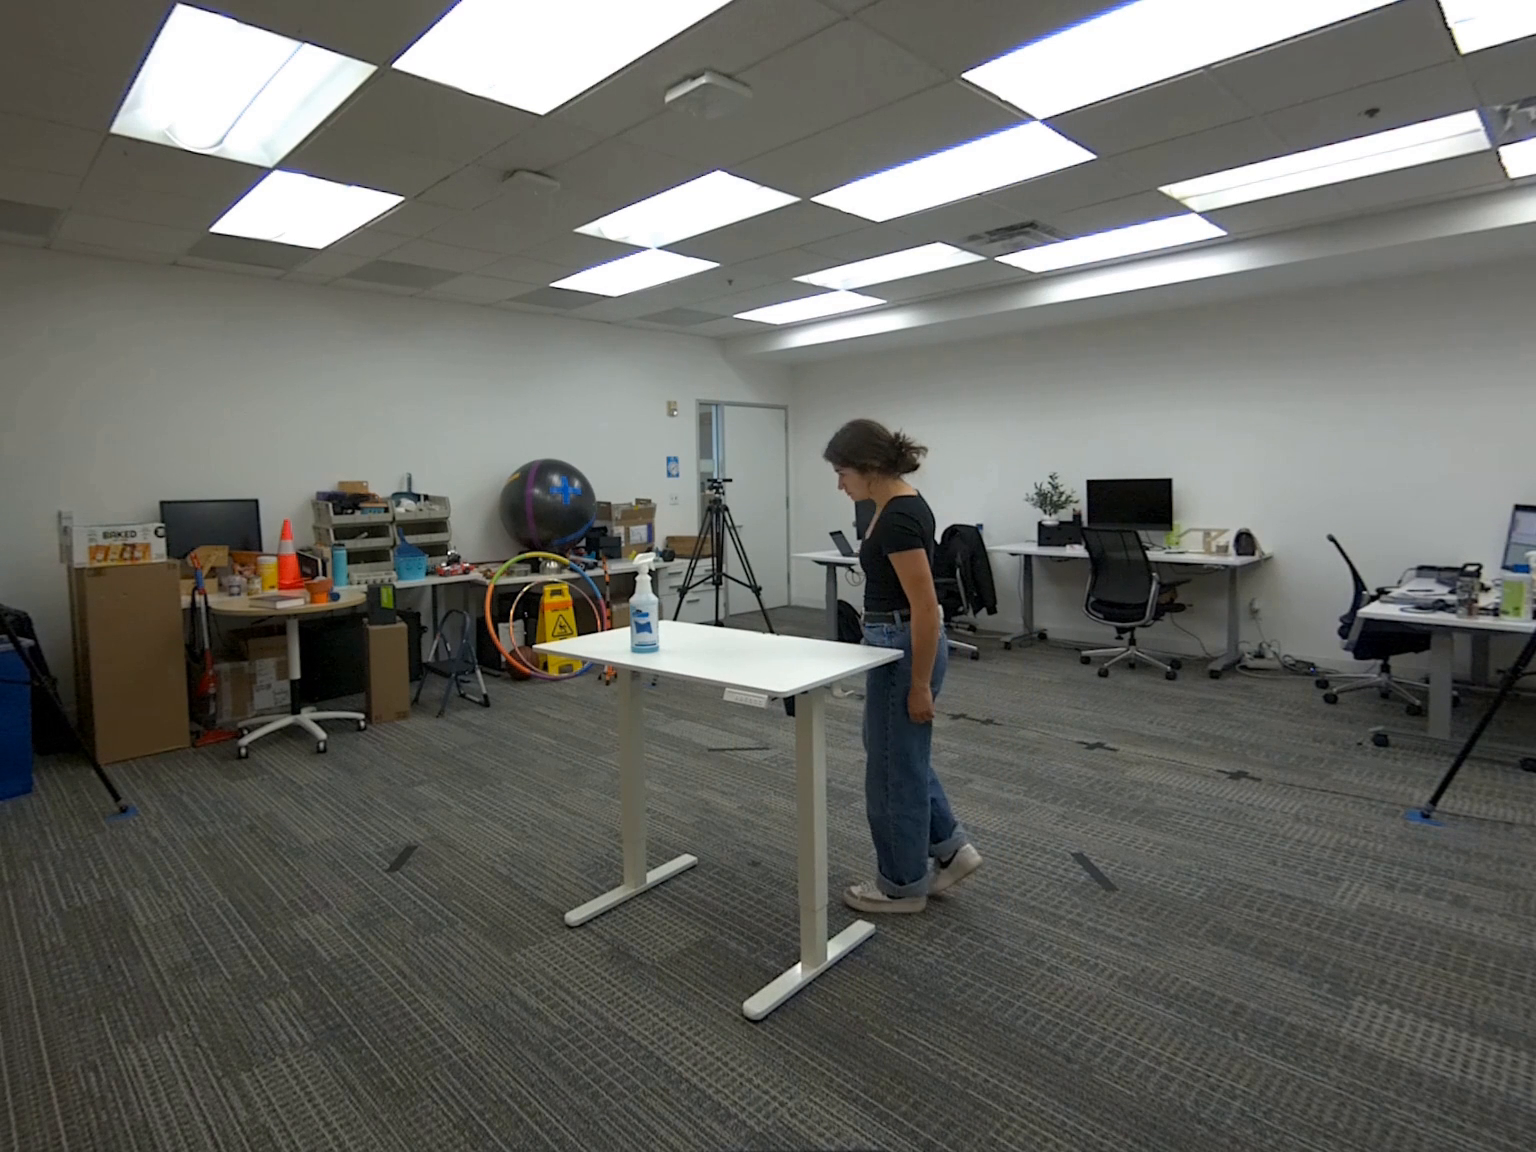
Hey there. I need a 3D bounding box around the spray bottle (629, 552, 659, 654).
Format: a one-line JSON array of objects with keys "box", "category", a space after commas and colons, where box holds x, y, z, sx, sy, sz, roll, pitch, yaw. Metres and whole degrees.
[{"box": [-0.366, 0.082, 2.585, 0.088, 0.296, 0.089, 0, 4, -28], "category": "spray bottle"}]
